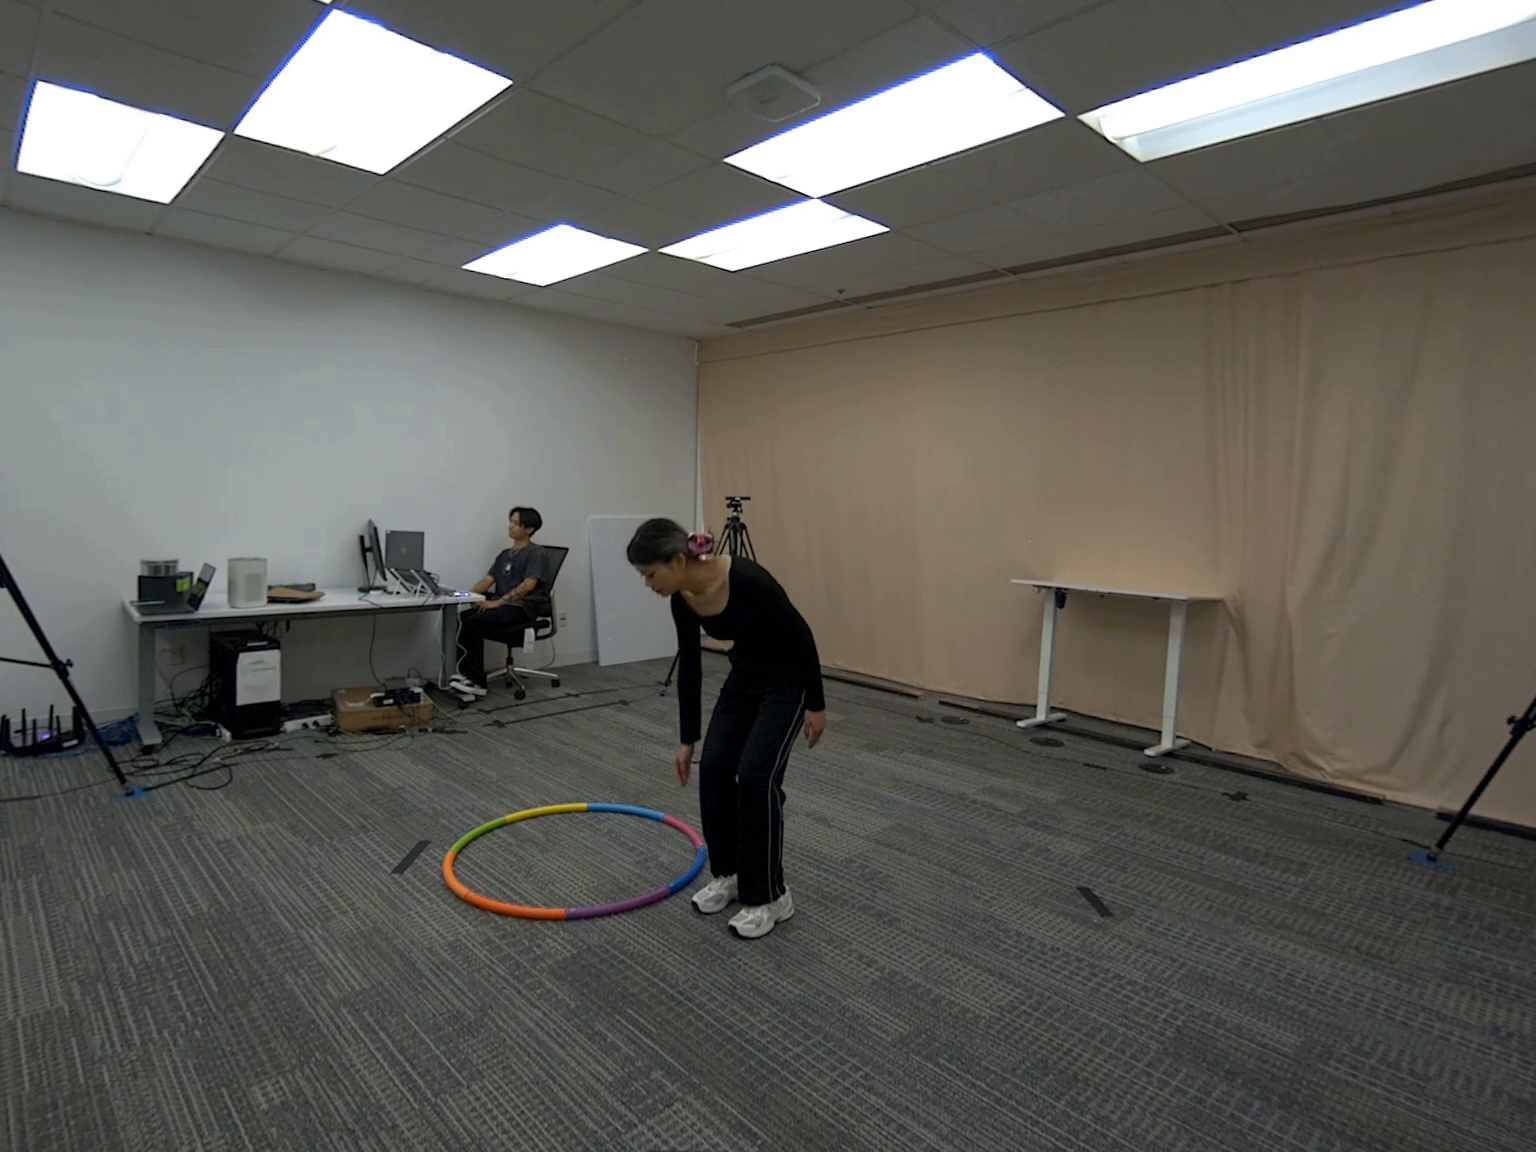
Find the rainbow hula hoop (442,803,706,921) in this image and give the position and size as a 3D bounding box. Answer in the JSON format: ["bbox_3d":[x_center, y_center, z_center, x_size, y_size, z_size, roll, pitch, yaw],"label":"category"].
[{"bbox_3d":[-0.733,1.052,3.238,0.978,0.035,0.982,2,5,-1],"label":"rainbow hula hoop"}]
